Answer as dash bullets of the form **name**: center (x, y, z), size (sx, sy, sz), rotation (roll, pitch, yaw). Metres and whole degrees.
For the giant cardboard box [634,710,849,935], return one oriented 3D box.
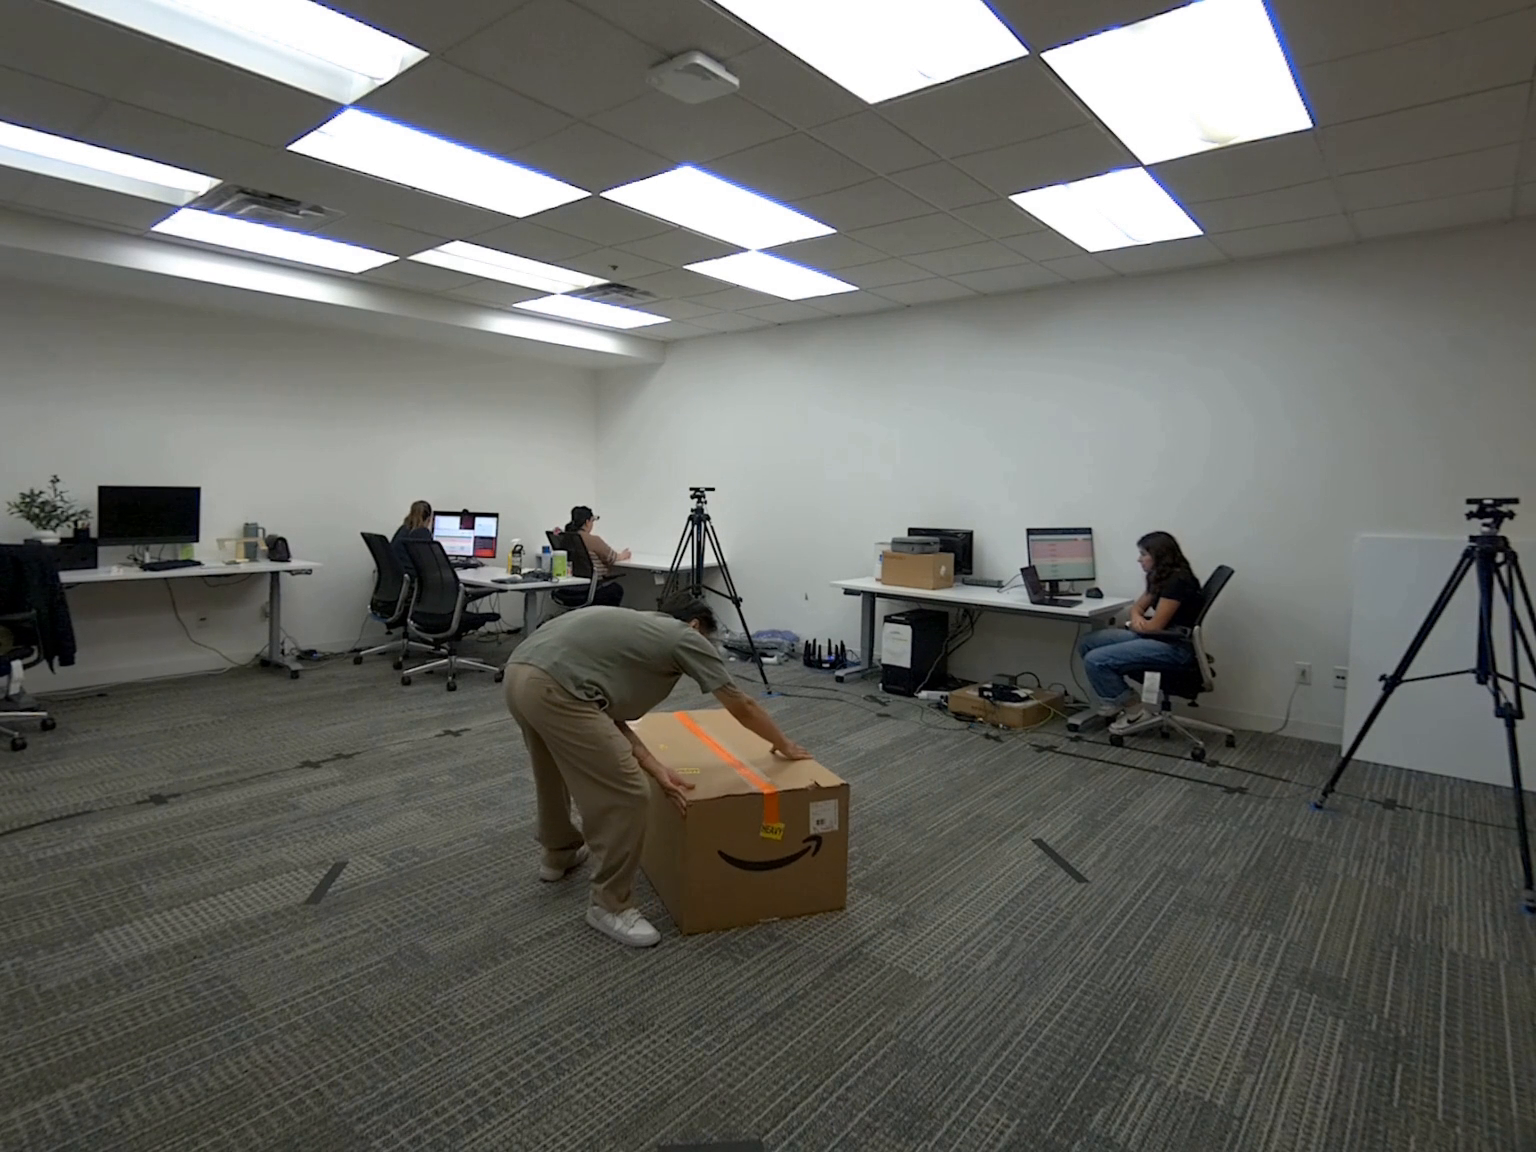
- **giant cardboard box**: center (-0.206, 0.838, 3.195), size (0.565, 0.425, 1.052), rotation (0, 5, -22)
